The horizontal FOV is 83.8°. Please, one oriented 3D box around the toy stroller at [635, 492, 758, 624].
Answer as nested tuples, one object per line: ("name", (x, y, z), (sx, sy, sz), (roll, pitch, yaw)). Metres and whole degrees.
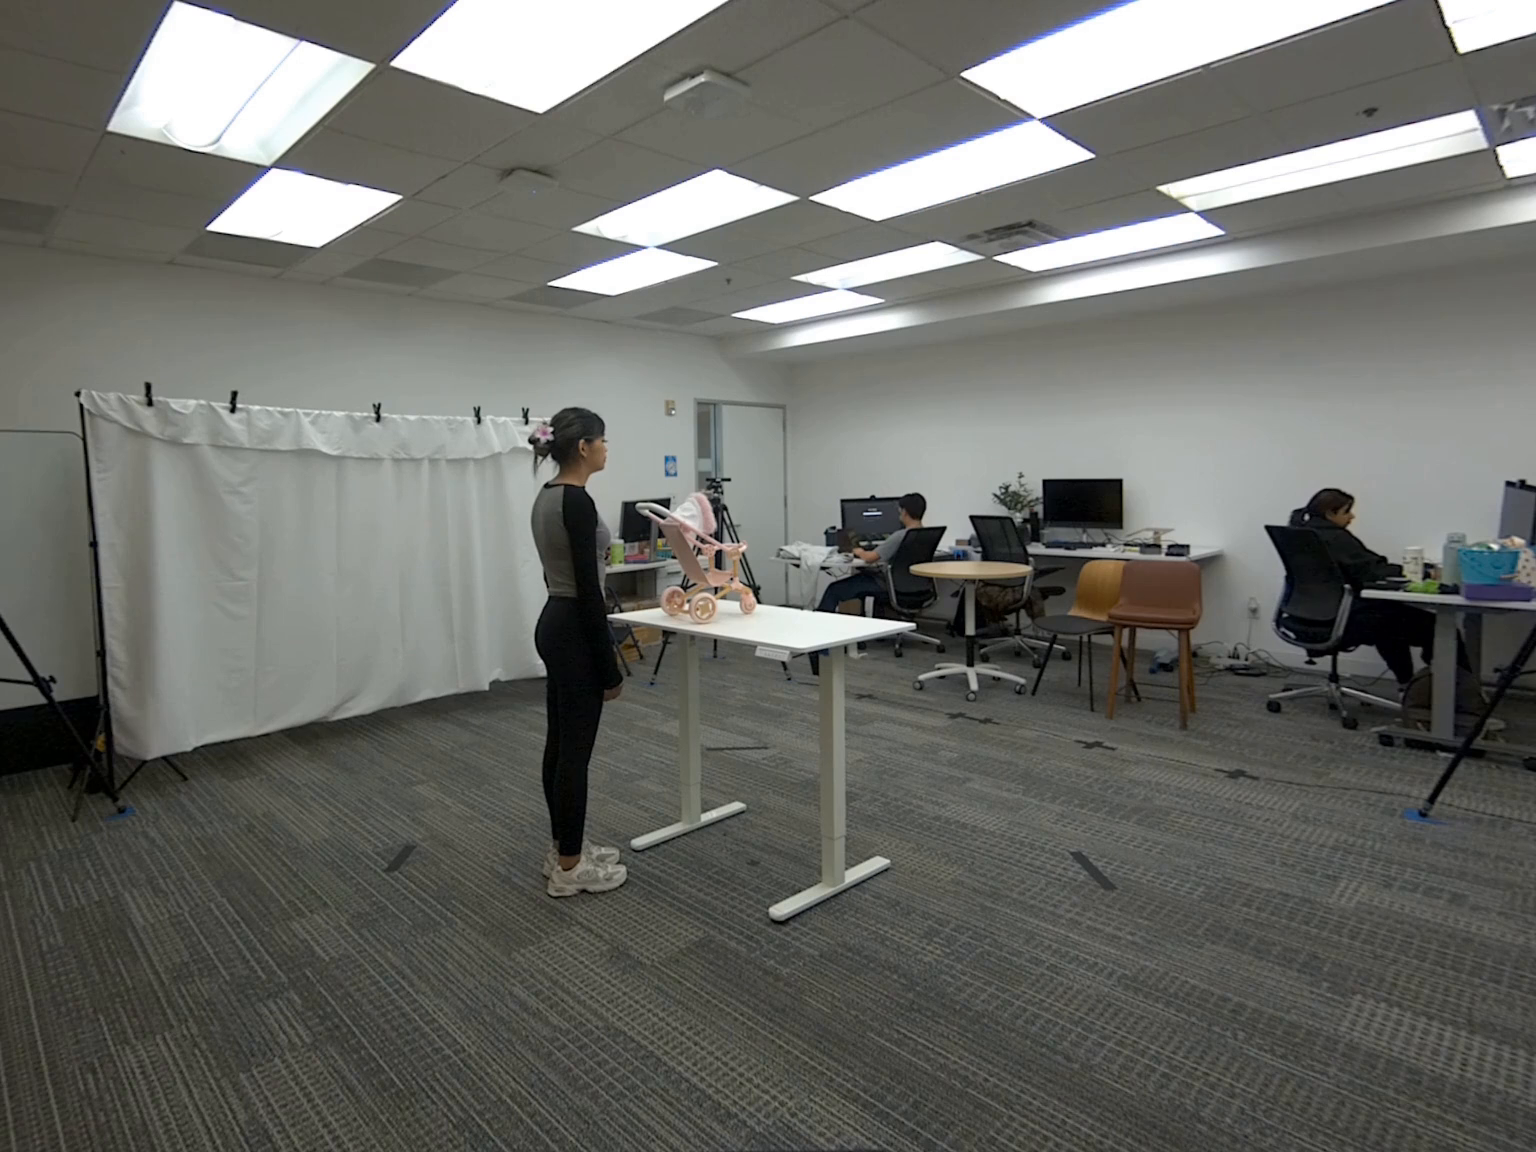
("toy stroller", (-0.242, -0.068, 3.150), (0.337, 0.529, 0.288), (-20, 11, -23))
